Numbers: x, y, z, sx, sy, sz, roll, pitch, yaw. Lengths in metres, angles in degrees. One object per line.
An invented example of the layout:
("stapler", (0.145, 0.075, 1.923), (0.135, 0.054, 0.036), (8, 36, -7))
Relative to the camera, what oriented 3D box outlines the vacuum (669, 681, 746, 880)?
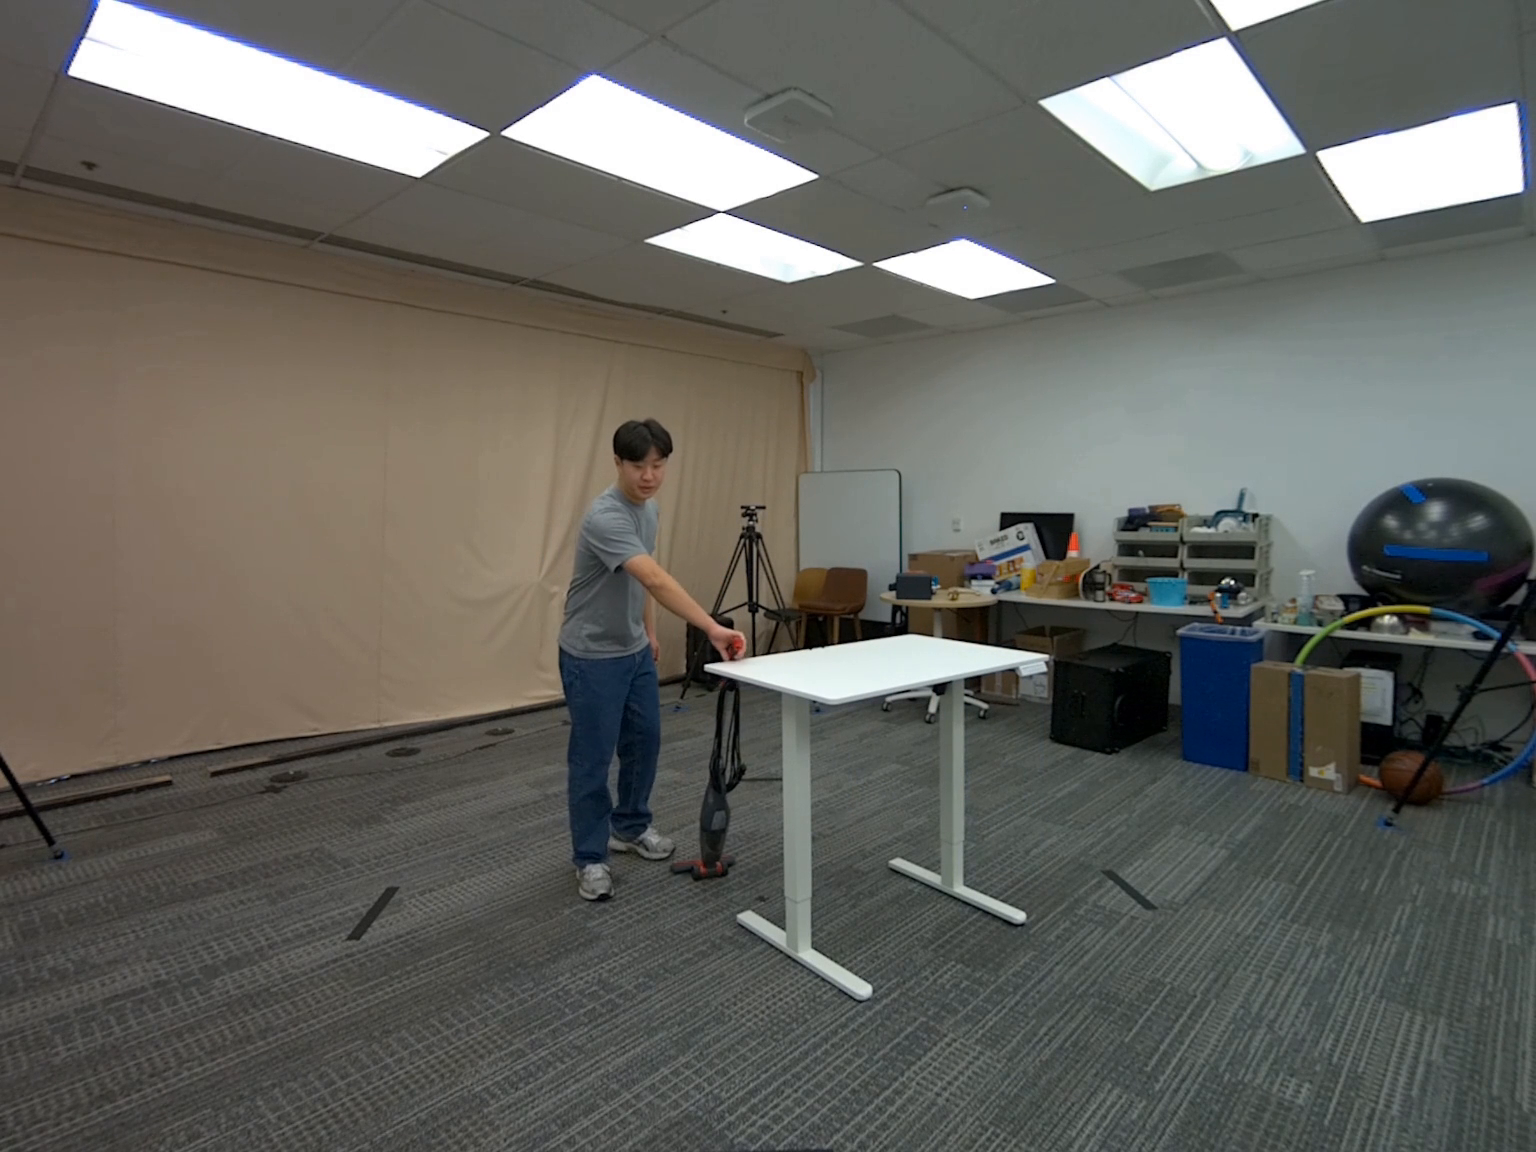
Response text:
("vacuum", (-0.176, 0.671, 2.961), (0.247, 1.035, 0.149), (-9, 32, -25))
